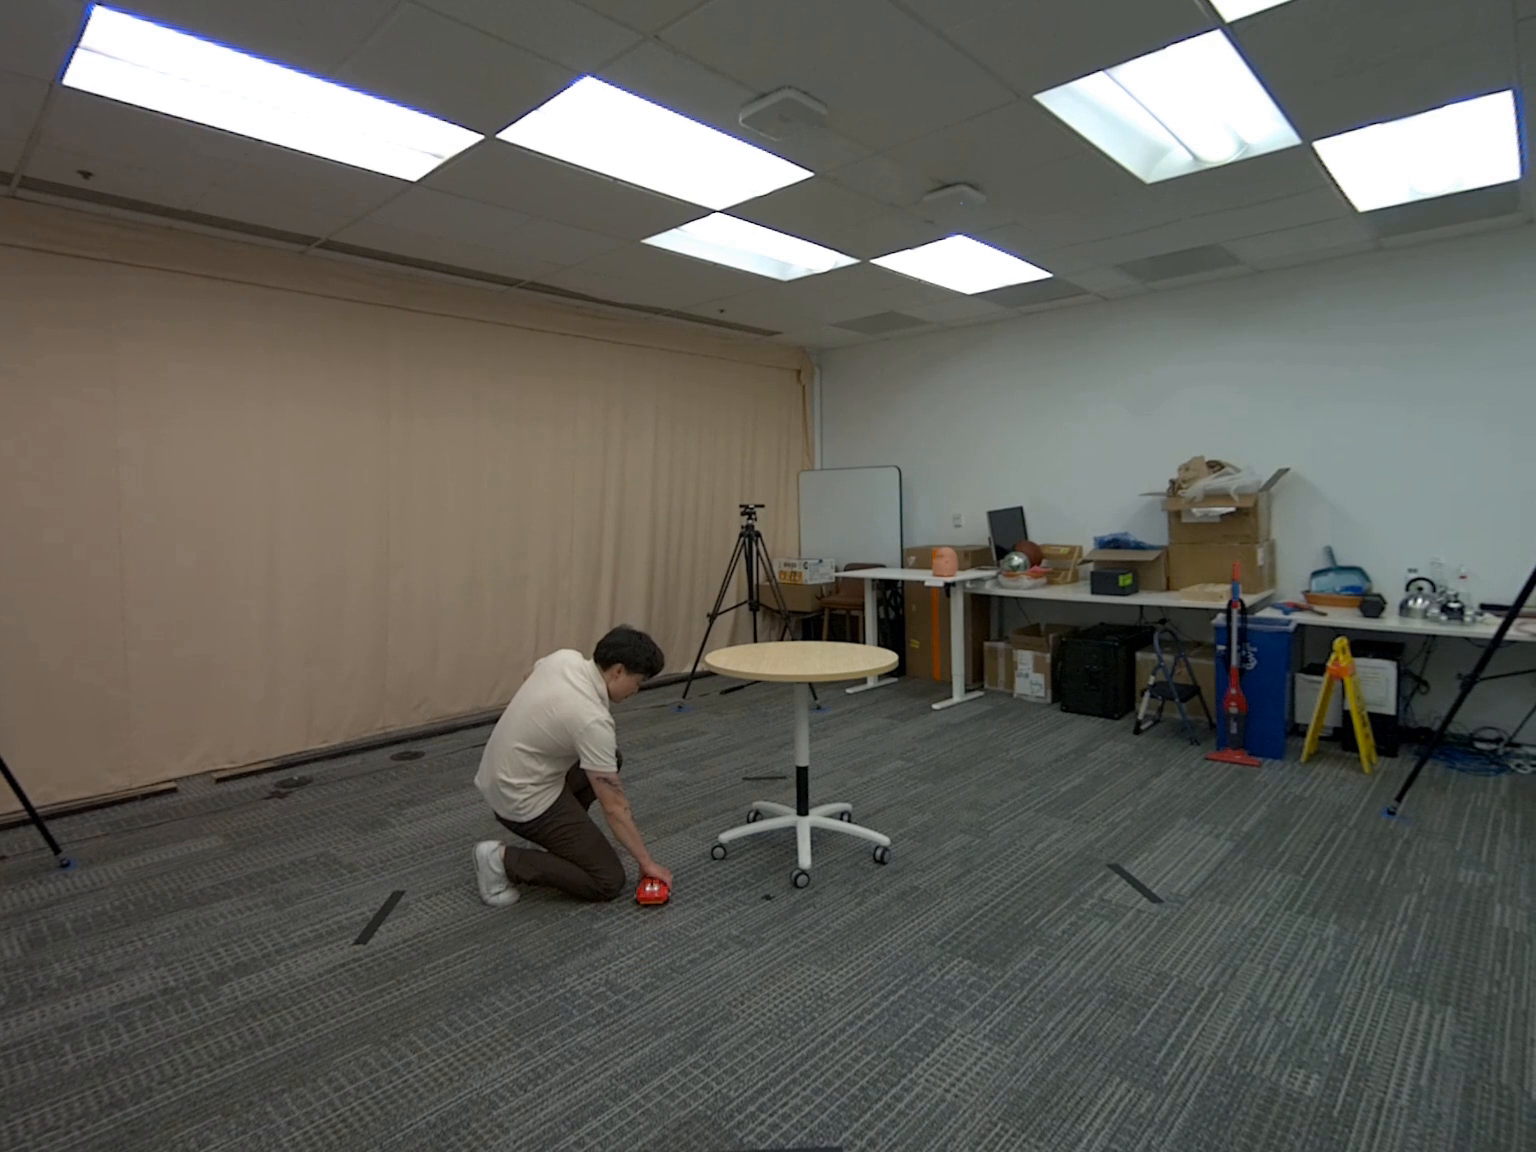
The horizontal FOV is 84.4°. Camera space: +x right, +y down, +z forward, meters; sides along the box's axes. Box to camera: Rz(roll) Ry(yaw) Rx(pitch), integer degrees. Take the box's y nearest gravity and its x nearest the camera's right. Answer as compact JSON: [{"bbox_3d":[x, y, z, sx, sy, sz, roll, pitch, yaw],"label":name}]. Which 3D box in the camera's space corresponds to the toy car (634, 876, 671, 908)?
[{"bbox_3d":[-0.416,1.120,3.011,0.130,0.083,0.254,1,-4,-2],"label":"toy car"}]
